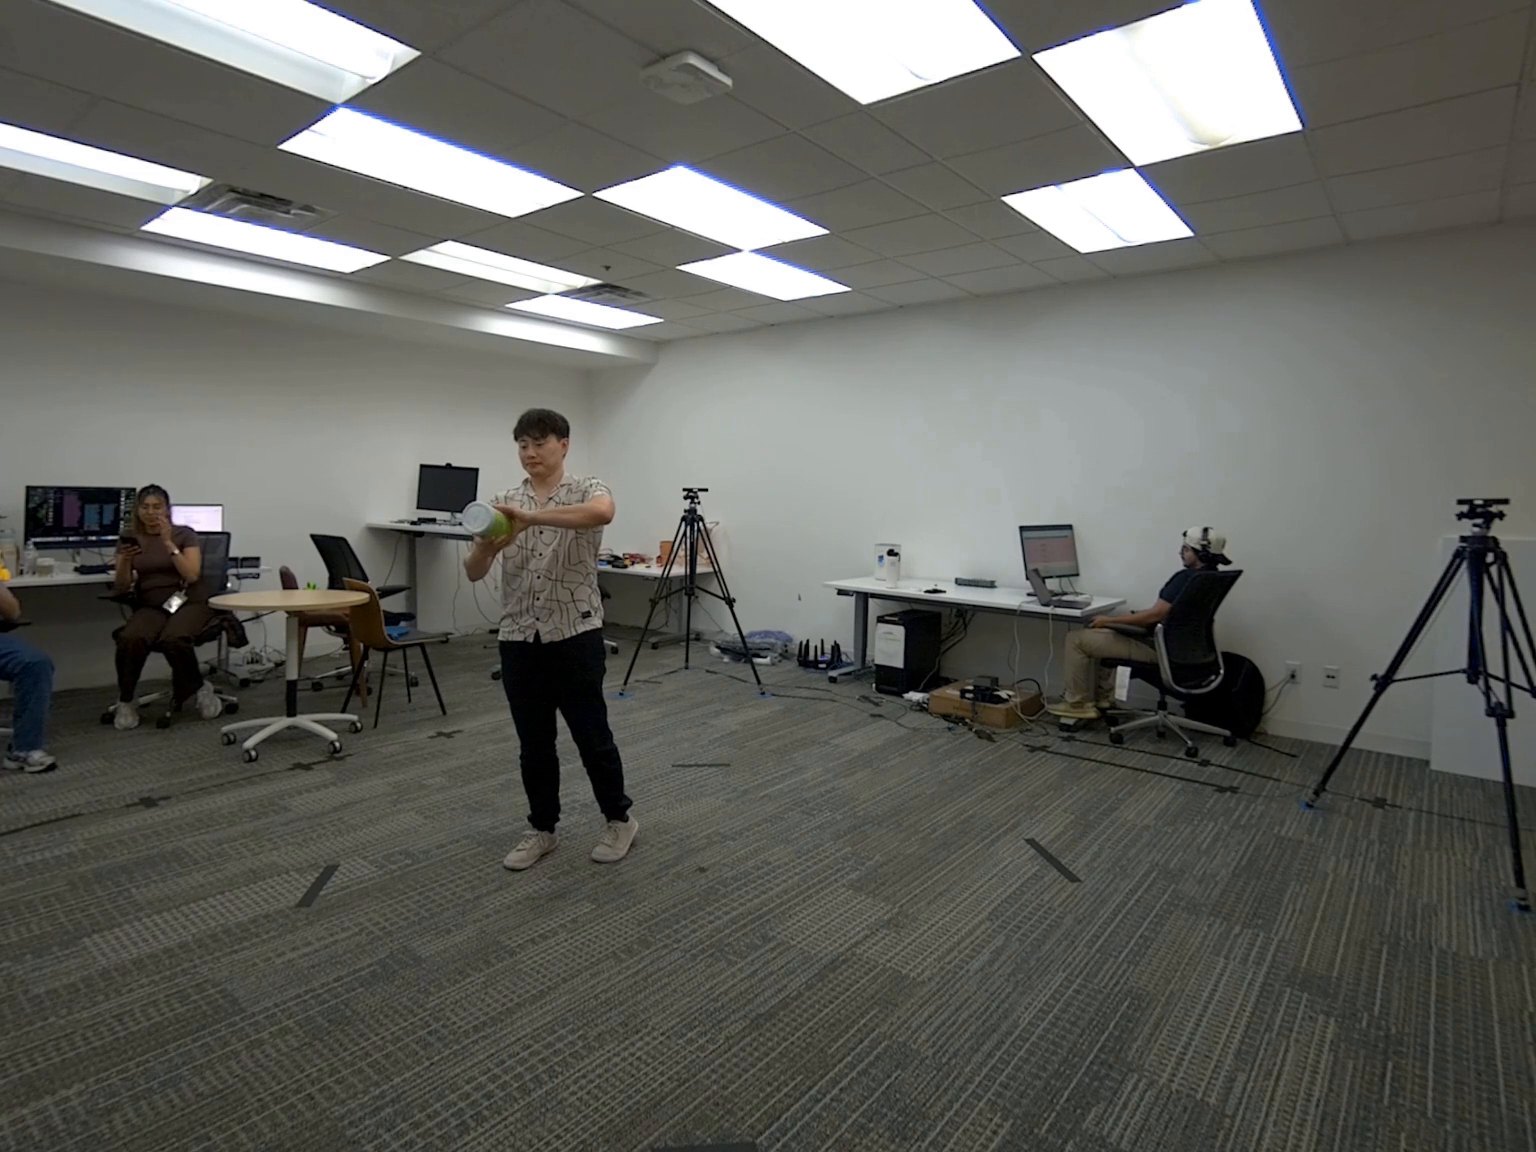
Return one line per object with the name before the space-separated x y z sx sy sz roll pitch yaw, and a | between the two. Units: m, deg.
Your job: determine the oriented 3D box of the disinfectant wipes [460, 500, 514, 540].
disinfectant wipes | -0.933 -0.179 2.807 0.119 0.119 0.213 2 -10 8
